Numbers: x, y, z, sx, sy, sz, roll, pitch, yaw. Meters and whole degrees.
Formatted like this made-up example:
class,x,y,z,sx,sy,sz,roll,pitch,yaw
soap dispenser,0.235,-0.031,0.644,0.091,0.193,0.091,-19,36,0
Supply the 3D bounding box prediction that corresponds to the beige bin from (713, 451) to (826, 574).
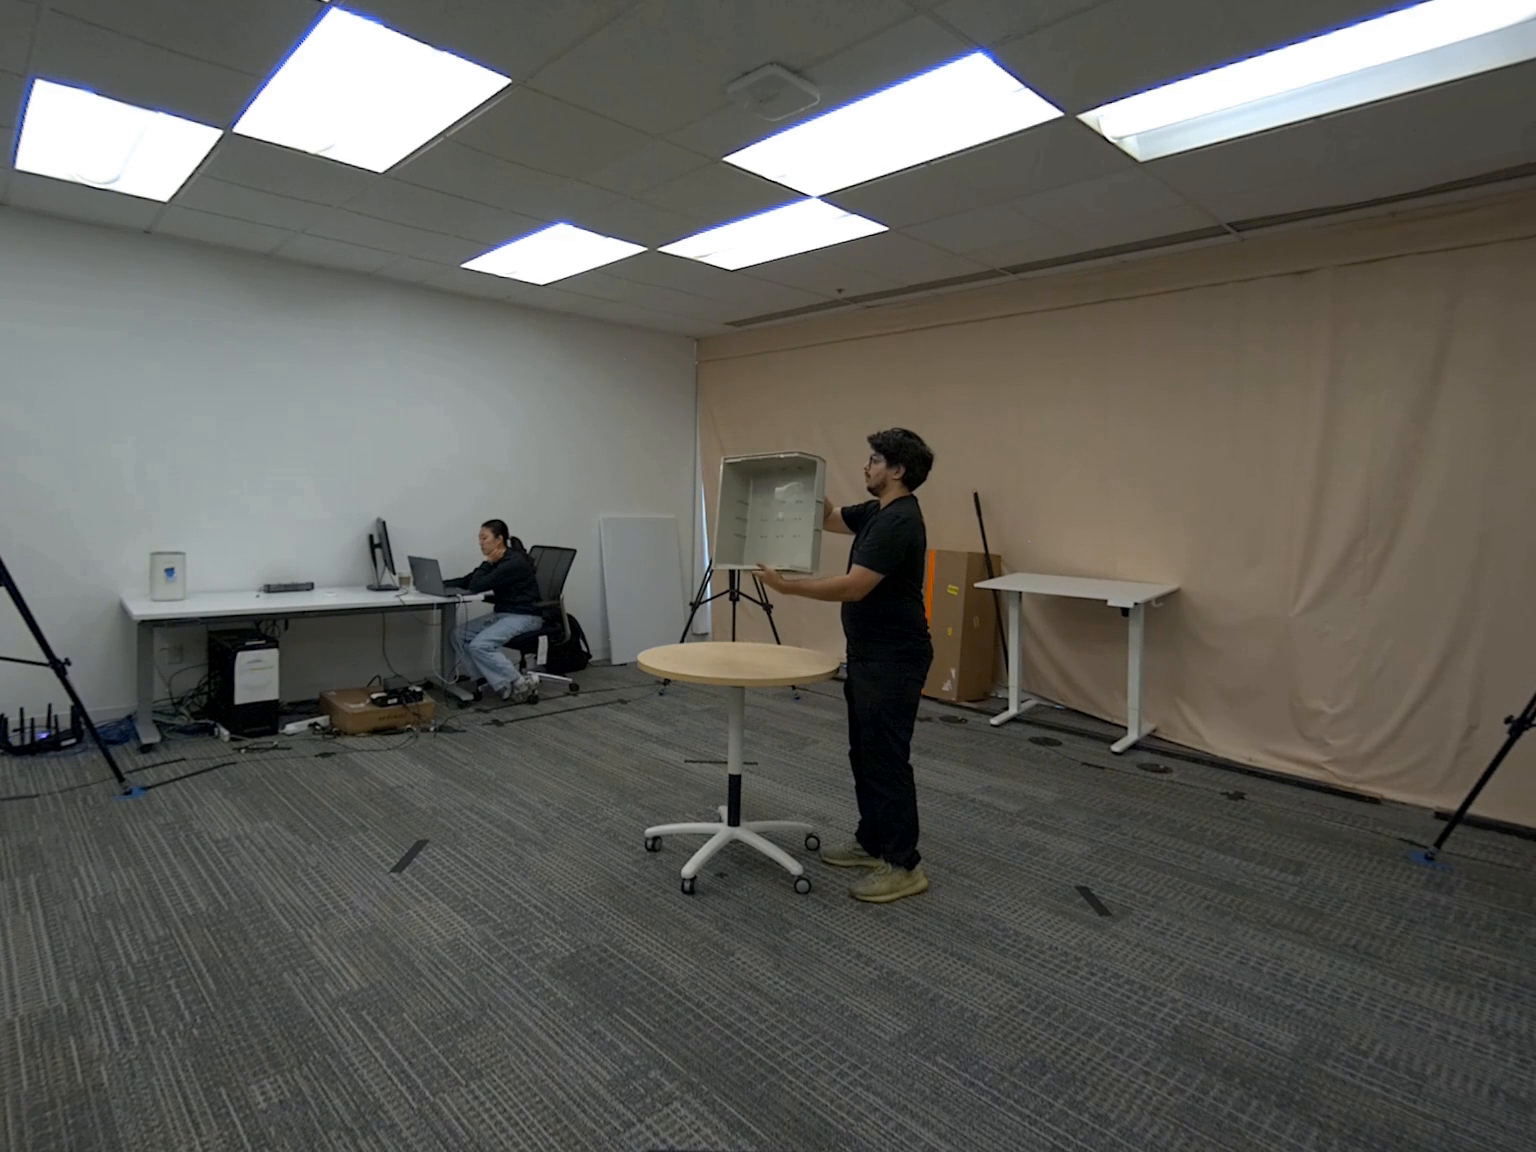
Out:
class,x,y,z,sx,sy,sz,roll,pitch,yaw
beige bin,0.009,-0.220,3.067,0.386,0.424,0.184,-1,-9,38
